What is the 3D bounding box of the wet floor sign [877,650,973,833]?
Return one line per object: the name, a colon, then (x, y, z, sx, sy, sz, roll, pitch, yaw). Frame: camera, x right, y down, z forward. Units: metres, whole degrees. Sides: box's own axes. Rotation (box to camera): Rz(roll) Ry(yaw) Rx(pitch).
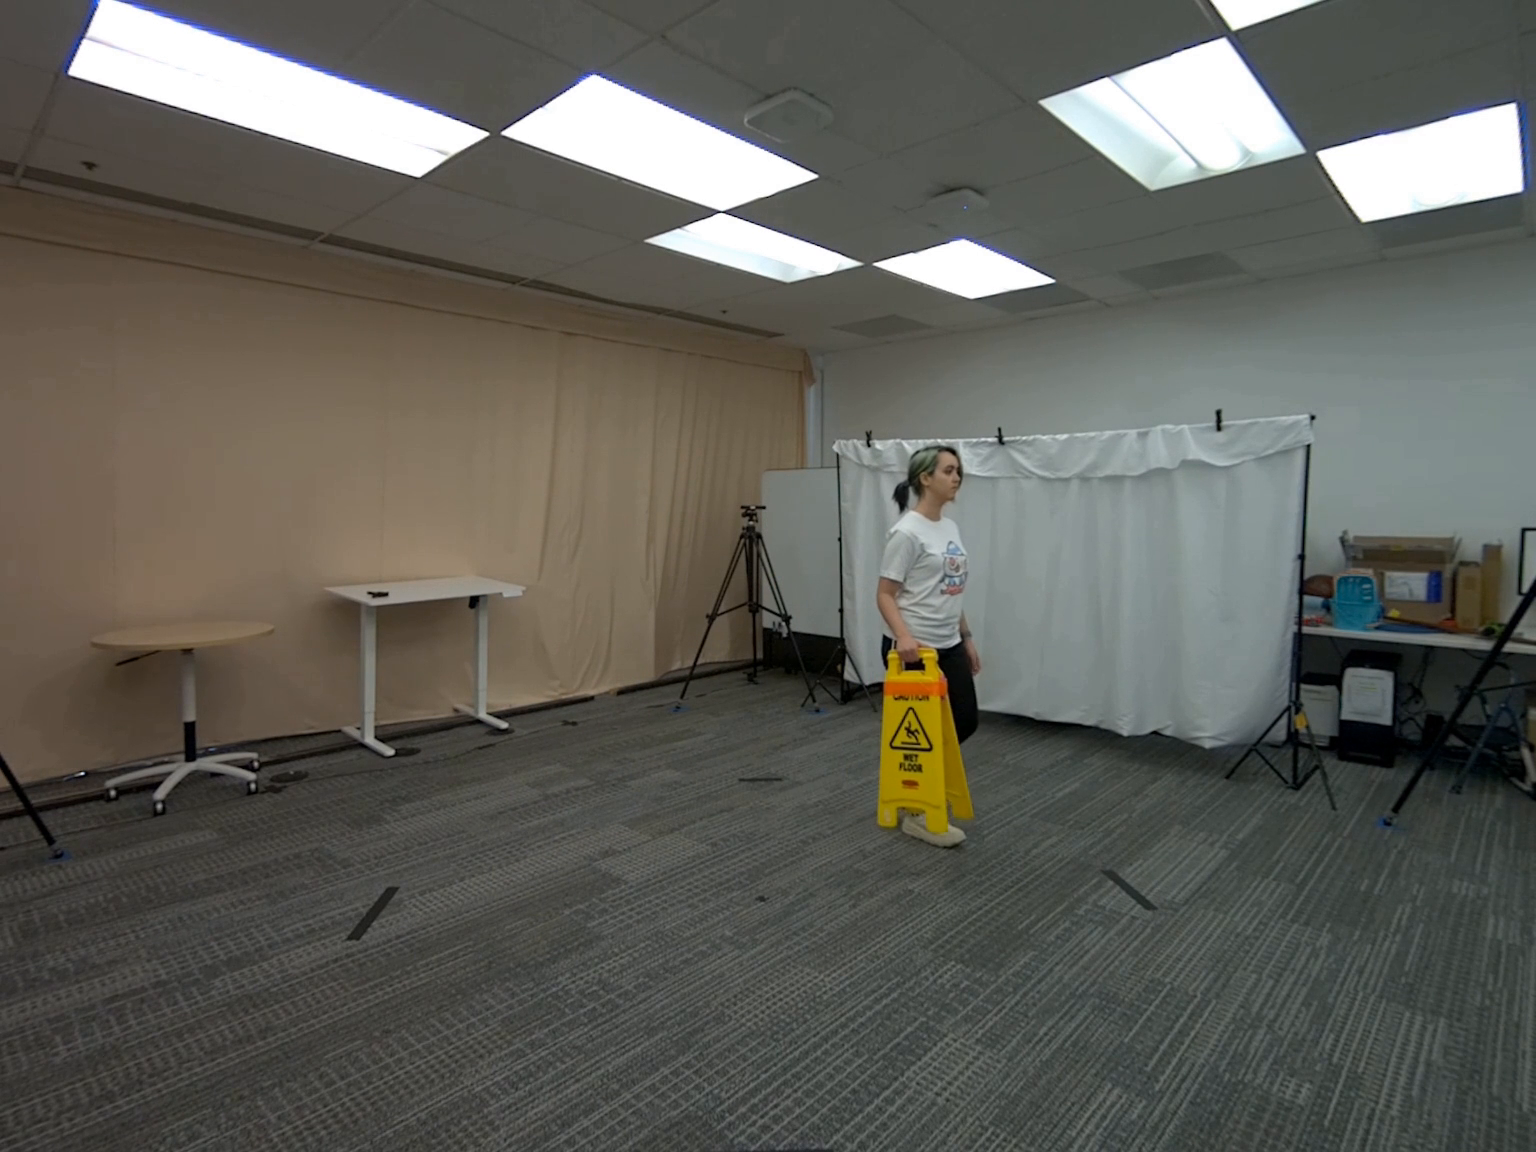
wet floor sign: (0.579, 0.610, 3.212, 0.290, 0.648, 0.281, -7, -4, 37)
